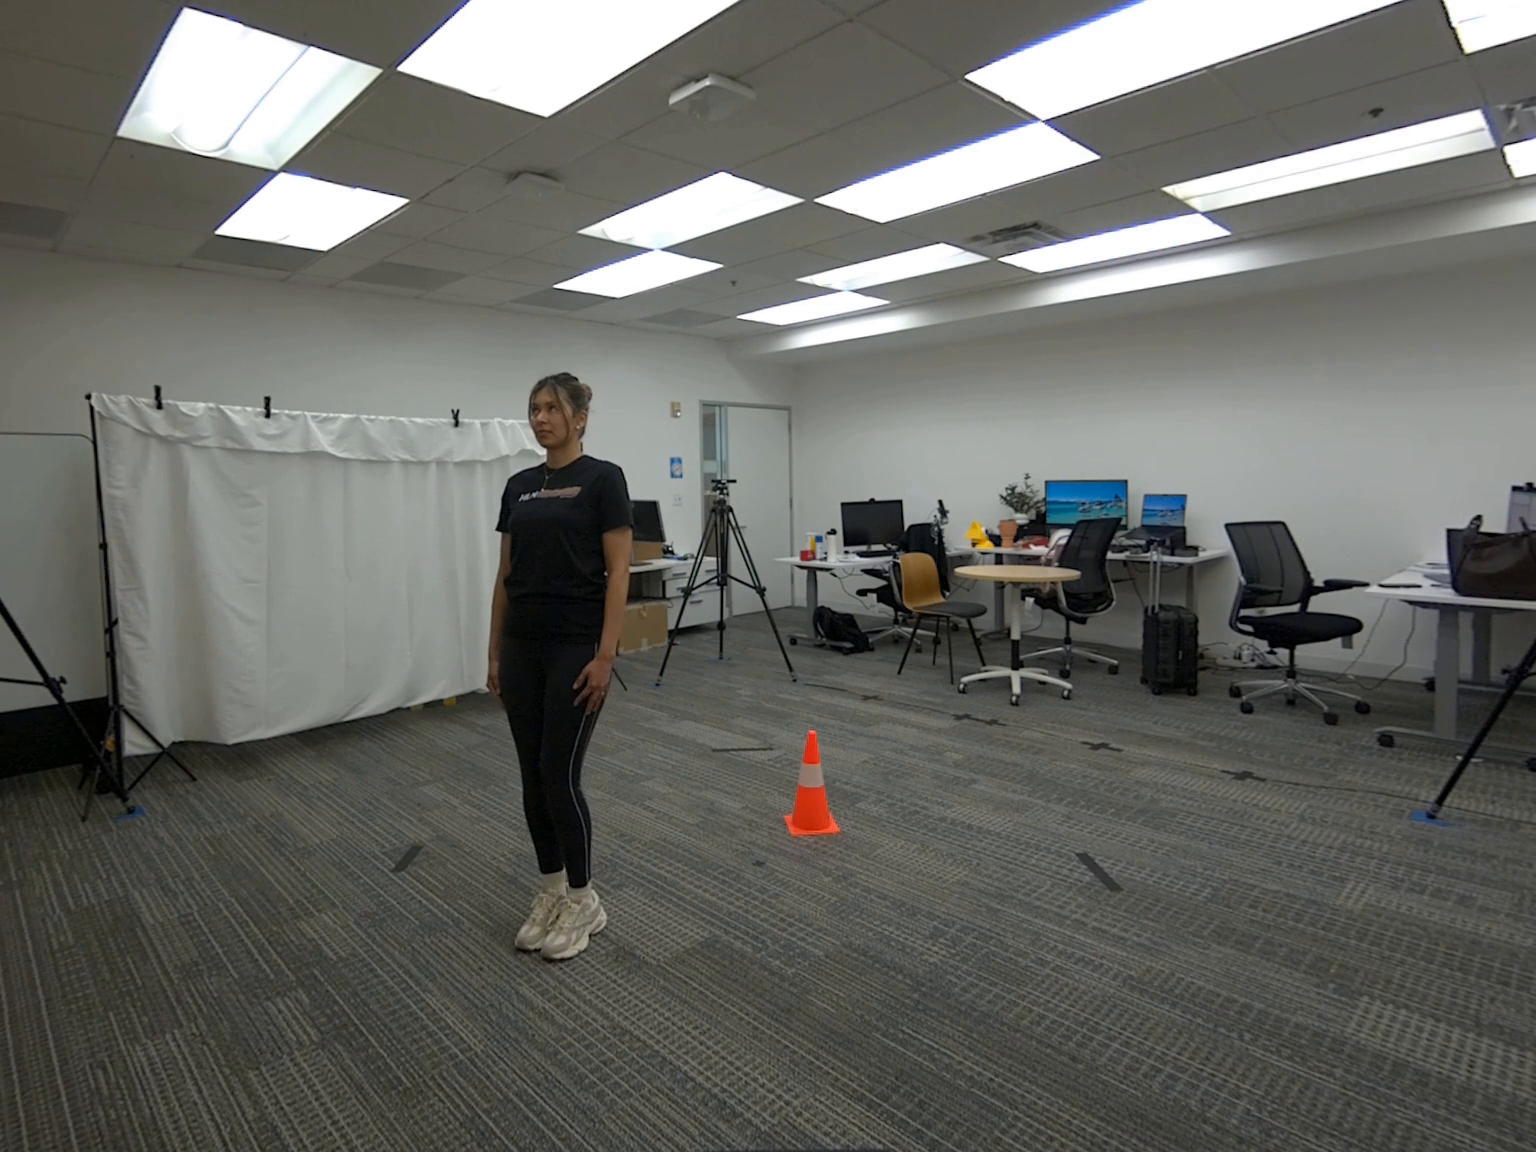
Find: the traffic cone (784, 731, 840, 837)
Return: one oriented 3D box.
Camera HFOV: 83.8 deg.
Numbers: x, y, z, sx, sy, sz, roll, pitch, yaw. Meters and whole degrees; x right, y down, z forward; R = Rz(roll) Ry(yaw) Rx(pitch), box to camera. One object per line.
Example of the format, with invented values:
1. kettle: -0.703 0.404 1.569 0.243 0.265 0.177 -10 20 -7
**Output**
1. traffic cone: 0.176 0.819 3.445 0.202 0.382 0.207 -2 5 -5
